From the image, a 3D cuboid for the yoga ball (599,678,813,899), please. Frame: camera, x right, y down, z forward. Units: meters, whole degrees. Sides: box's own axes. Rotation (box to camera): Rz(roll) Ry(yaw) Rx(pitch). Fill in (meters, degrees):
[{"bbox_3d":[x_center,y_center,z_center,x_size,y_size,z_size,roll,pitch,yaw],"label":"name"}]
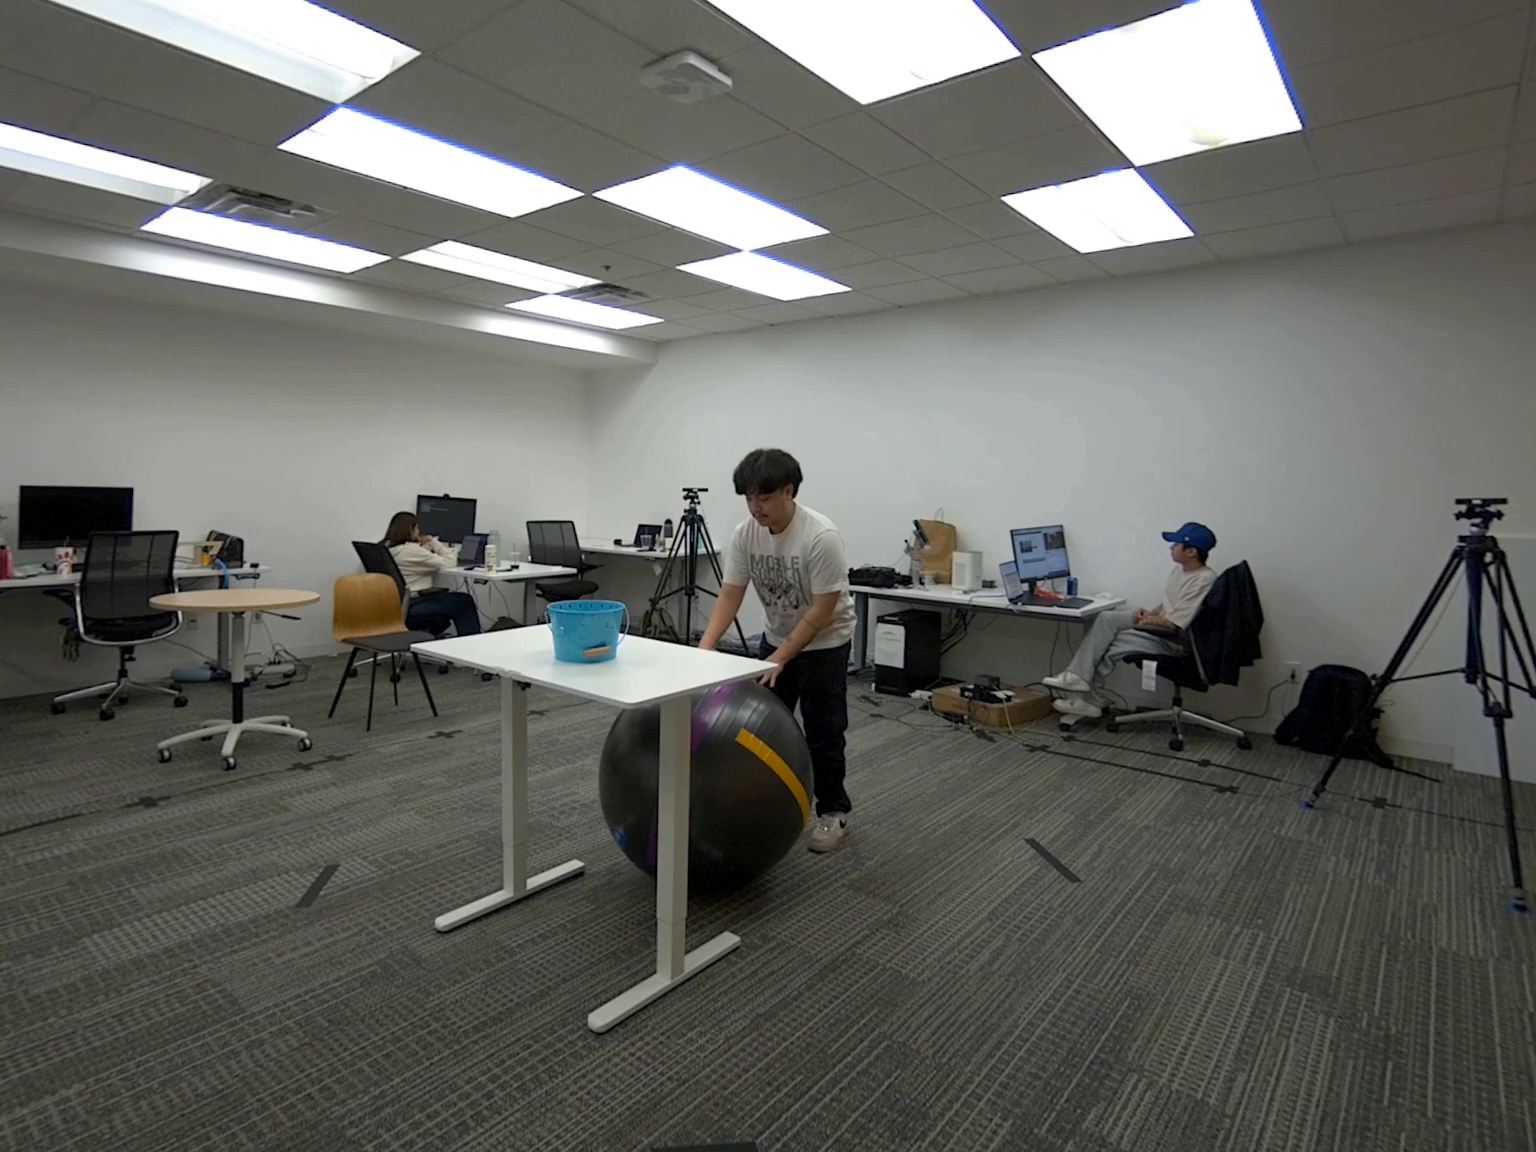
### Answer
[{"bbox_3d":[-0.230,0.718,3.016,0.757,0.755,0.762,1,4,-2],"label":"yoga ball"}]
